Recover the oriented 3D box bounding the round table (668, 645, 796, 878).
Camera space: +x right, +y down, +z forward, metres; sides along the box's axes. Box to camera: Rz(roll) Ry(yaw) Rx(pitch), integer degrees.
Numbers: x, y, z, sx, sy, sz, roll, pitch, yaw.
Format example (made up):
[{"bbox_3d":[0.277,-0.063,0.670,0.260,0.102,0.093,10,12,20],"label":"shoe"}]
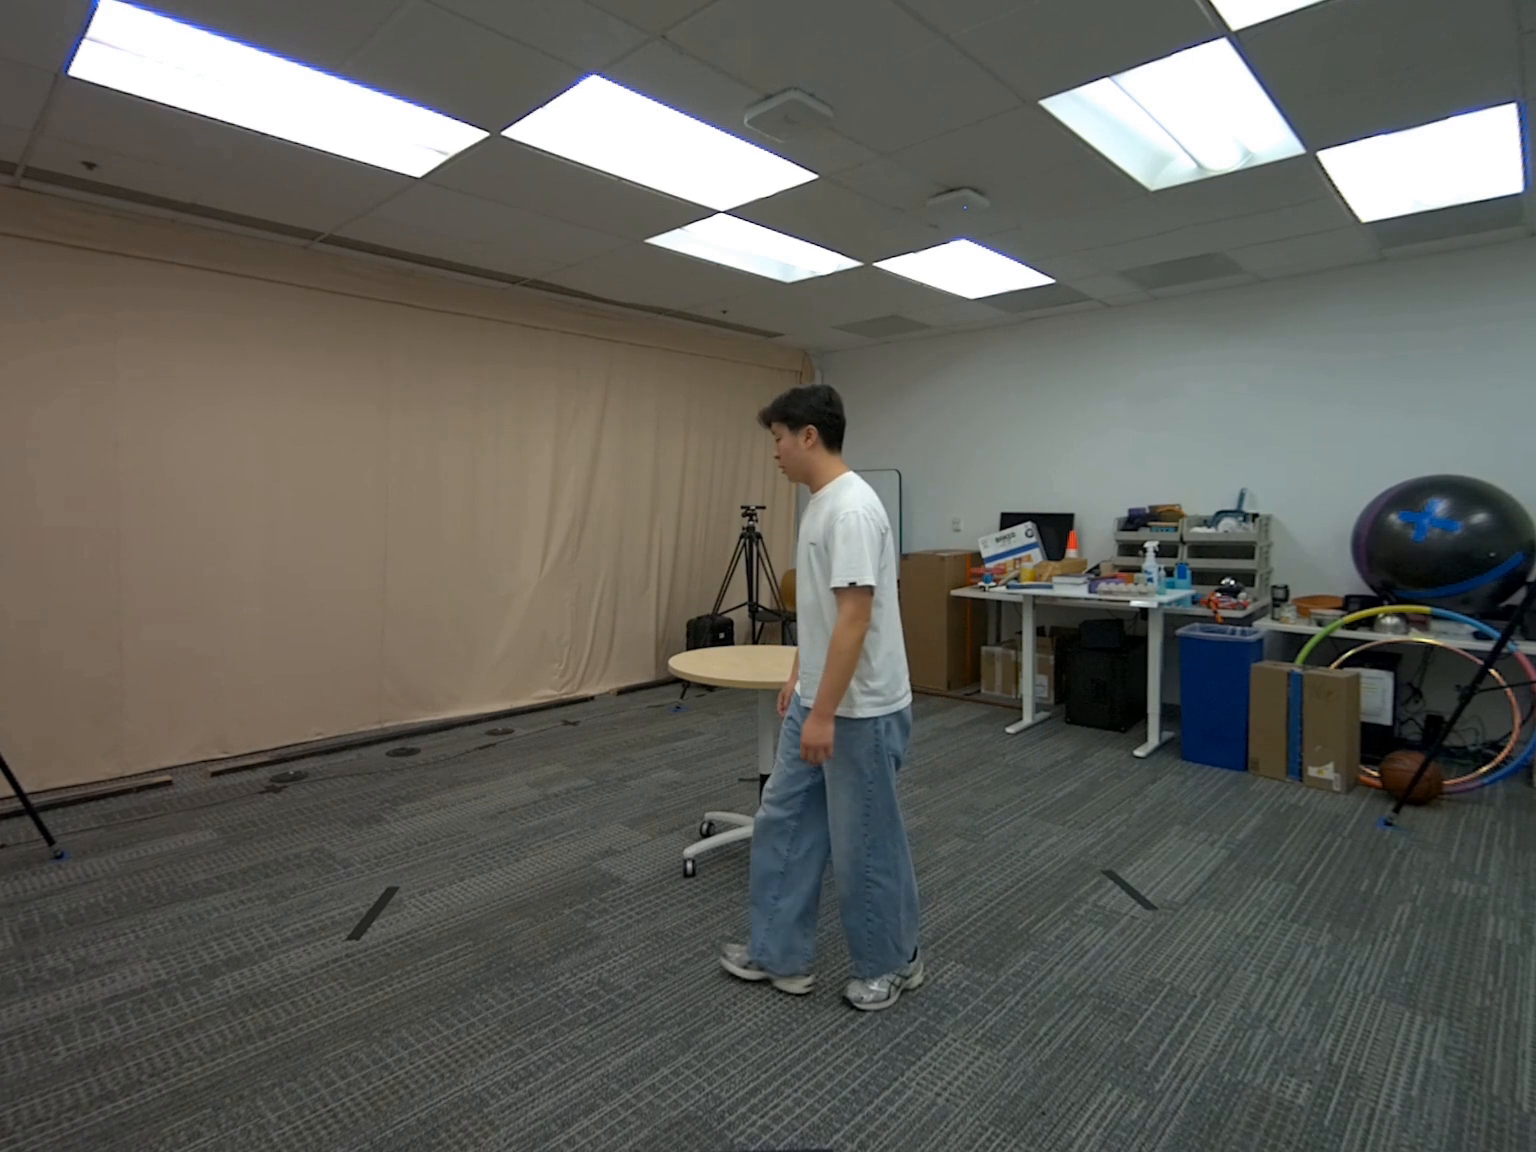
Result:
[{"bbox_3d":[-0.004,0.727,3.304,0.763,0.792,0.766,0,3,-2],"label":"round table"}]
